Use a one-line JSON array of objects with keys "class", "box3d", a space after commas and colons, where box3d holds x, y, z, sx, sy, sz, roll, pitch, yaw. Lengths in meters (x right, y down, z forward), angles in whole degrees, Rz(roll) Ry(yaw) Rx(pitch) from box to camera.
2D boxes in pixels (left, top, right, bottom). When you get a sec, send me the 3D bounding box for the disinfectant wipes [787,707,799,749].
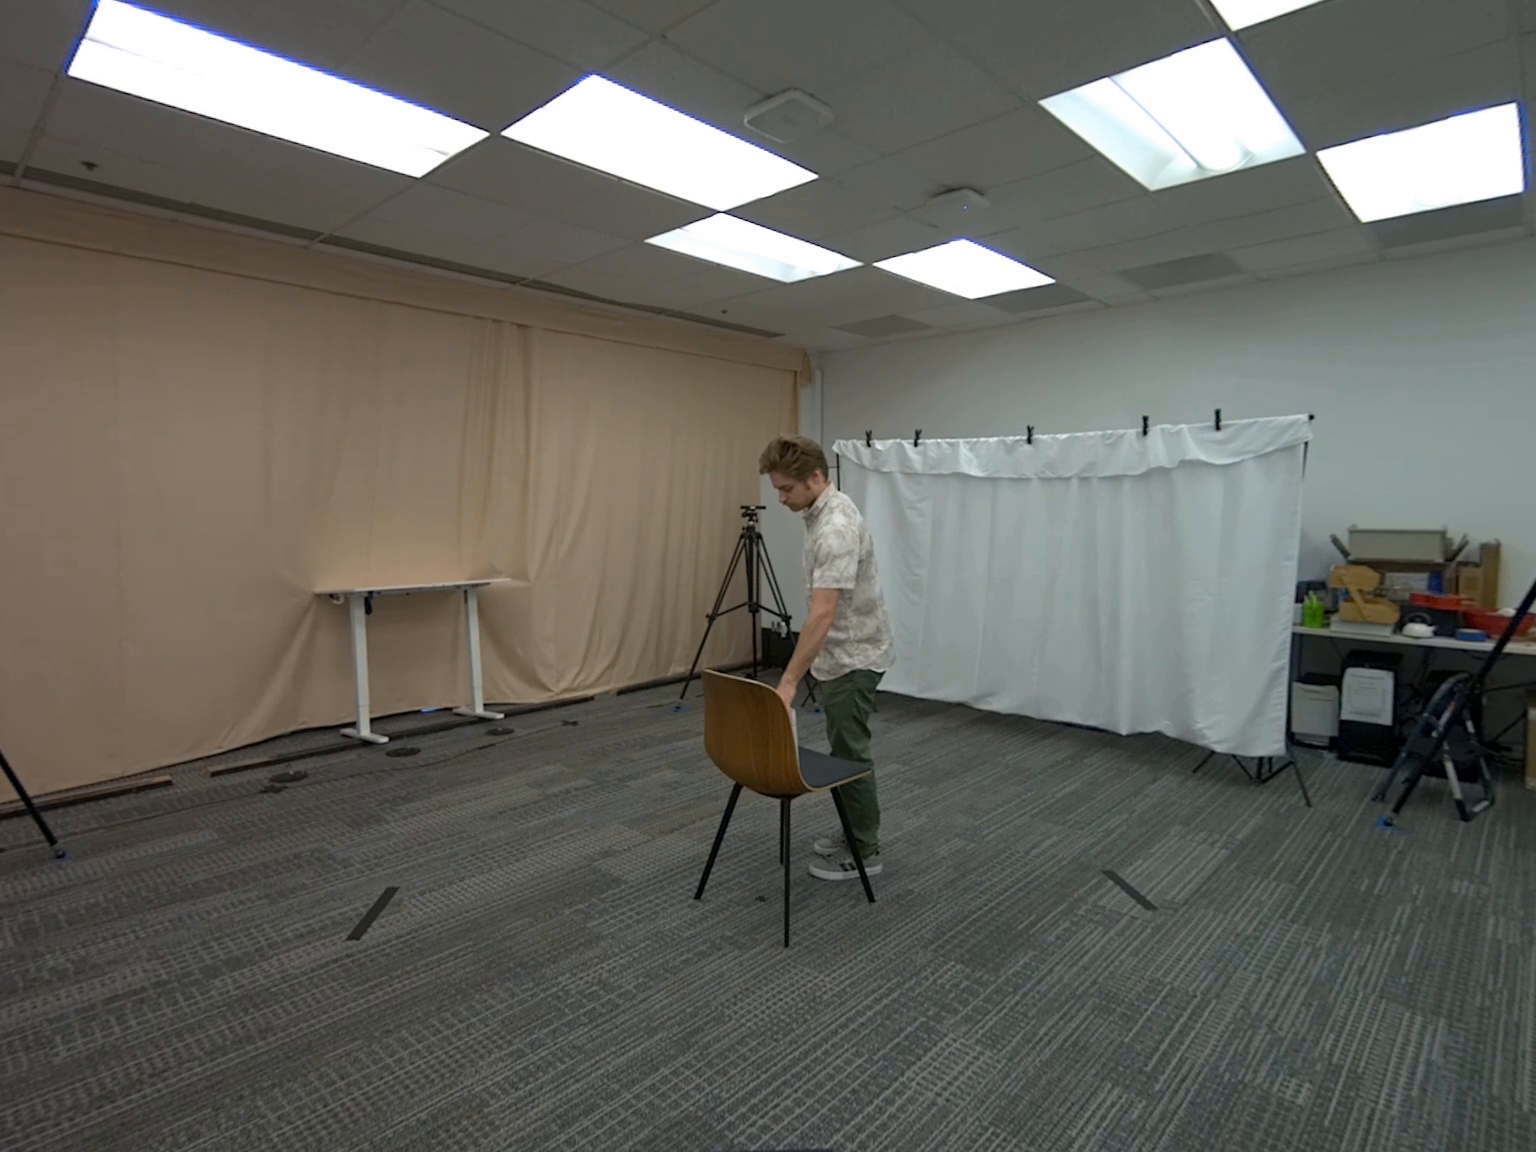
[{"class": "disinfectant wipes", "box3d": [0.054, 0.576, 2.899, 0.118, 0.217, 0.118, -4, 5, -1]}]
